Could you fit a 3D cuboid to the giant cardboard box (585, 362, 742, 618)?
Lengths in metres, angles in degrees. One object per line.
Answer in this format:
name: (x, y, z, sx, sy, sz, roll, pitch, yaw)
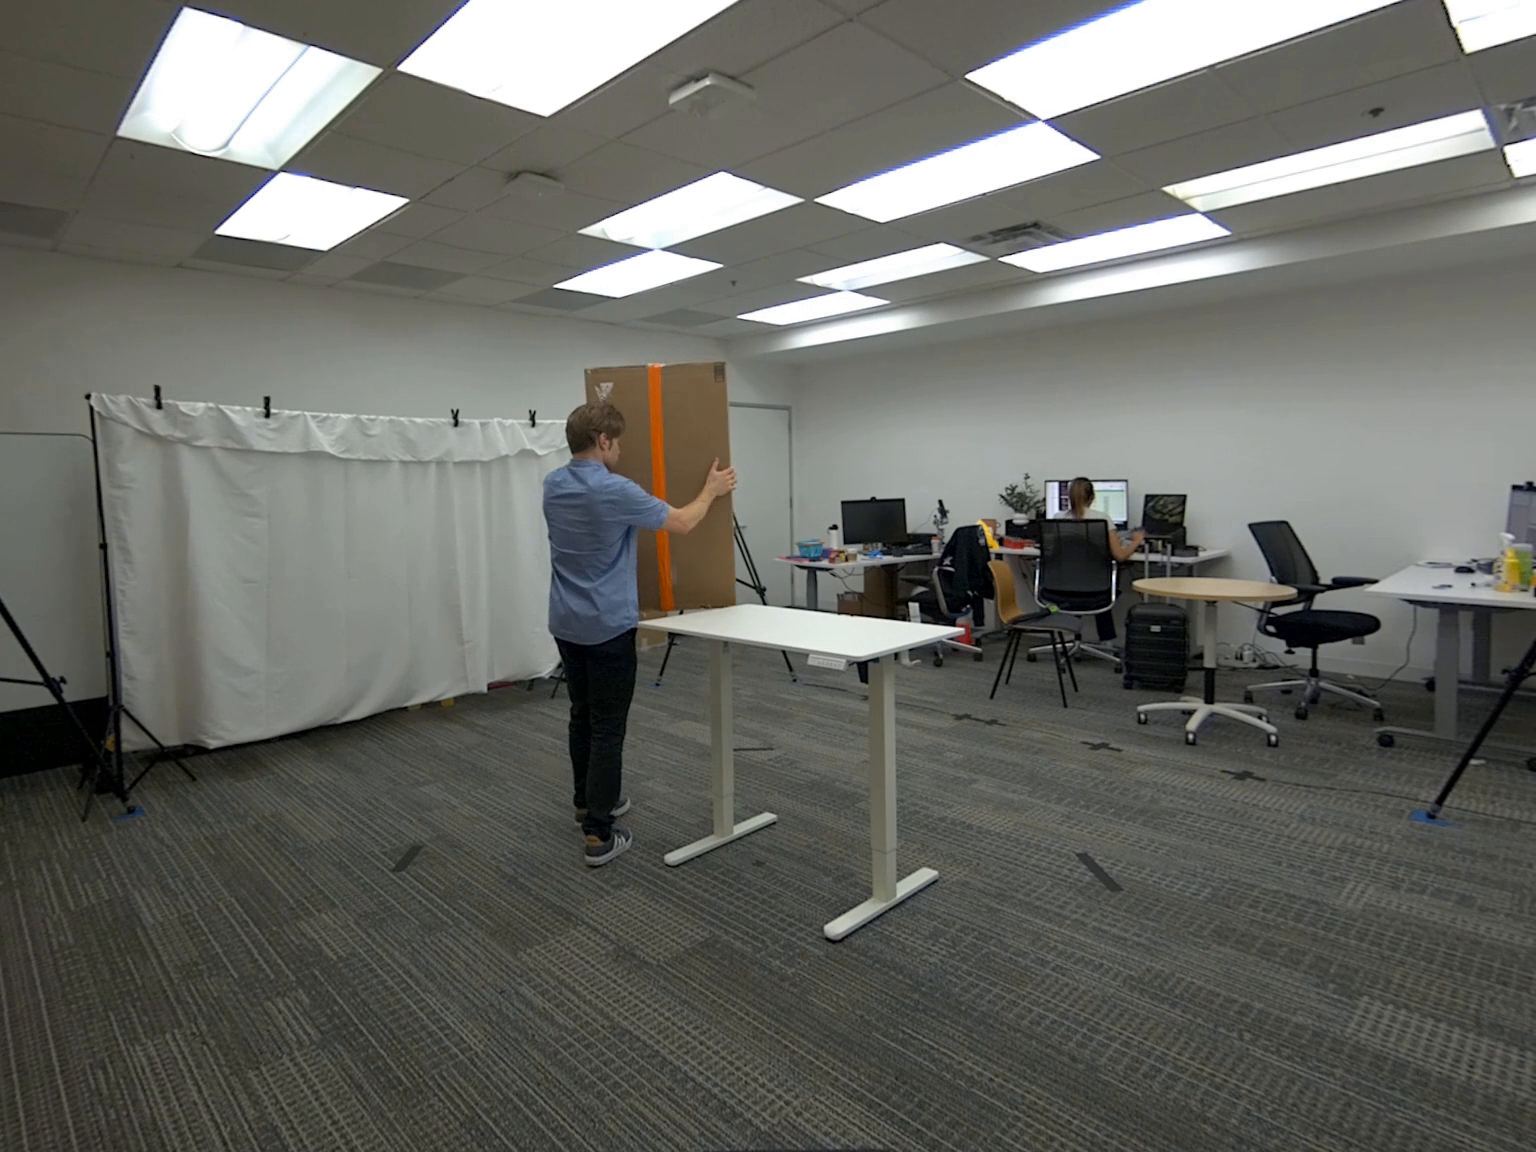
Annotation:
giant cardboard box: (-0.446, -0.396, 3.721, 0.578, 1.016, 0.430, -2, 10, 0)
